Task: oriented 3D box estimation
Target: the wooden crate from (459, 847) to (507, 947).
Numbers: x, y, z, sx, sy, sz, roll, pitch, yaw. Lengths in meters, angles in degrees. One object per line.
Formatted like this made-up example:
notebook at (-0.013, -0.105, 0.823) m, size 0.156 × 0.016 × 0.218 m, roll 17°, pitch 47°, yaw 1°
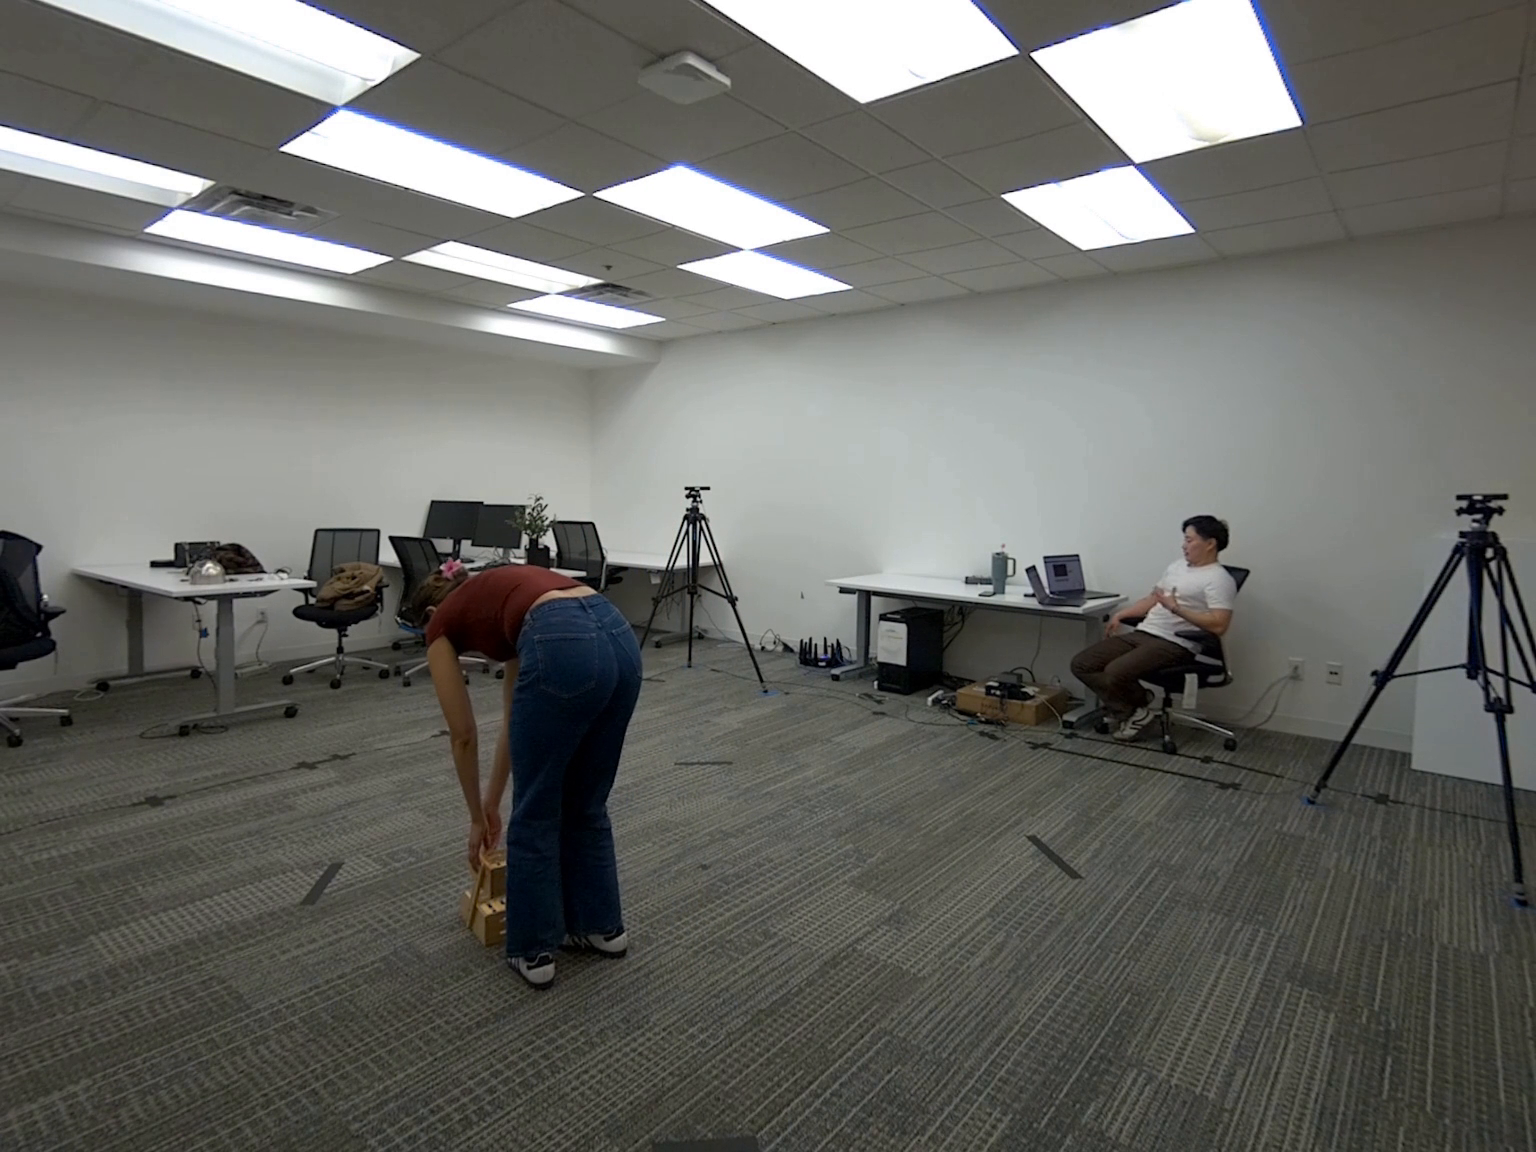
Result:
wooden crate at (-0.800, 0.960, 2.717) m, size 0.315 × 0.272 × 0.312 m, roll -2°, pitch 6°, yaw -36°
